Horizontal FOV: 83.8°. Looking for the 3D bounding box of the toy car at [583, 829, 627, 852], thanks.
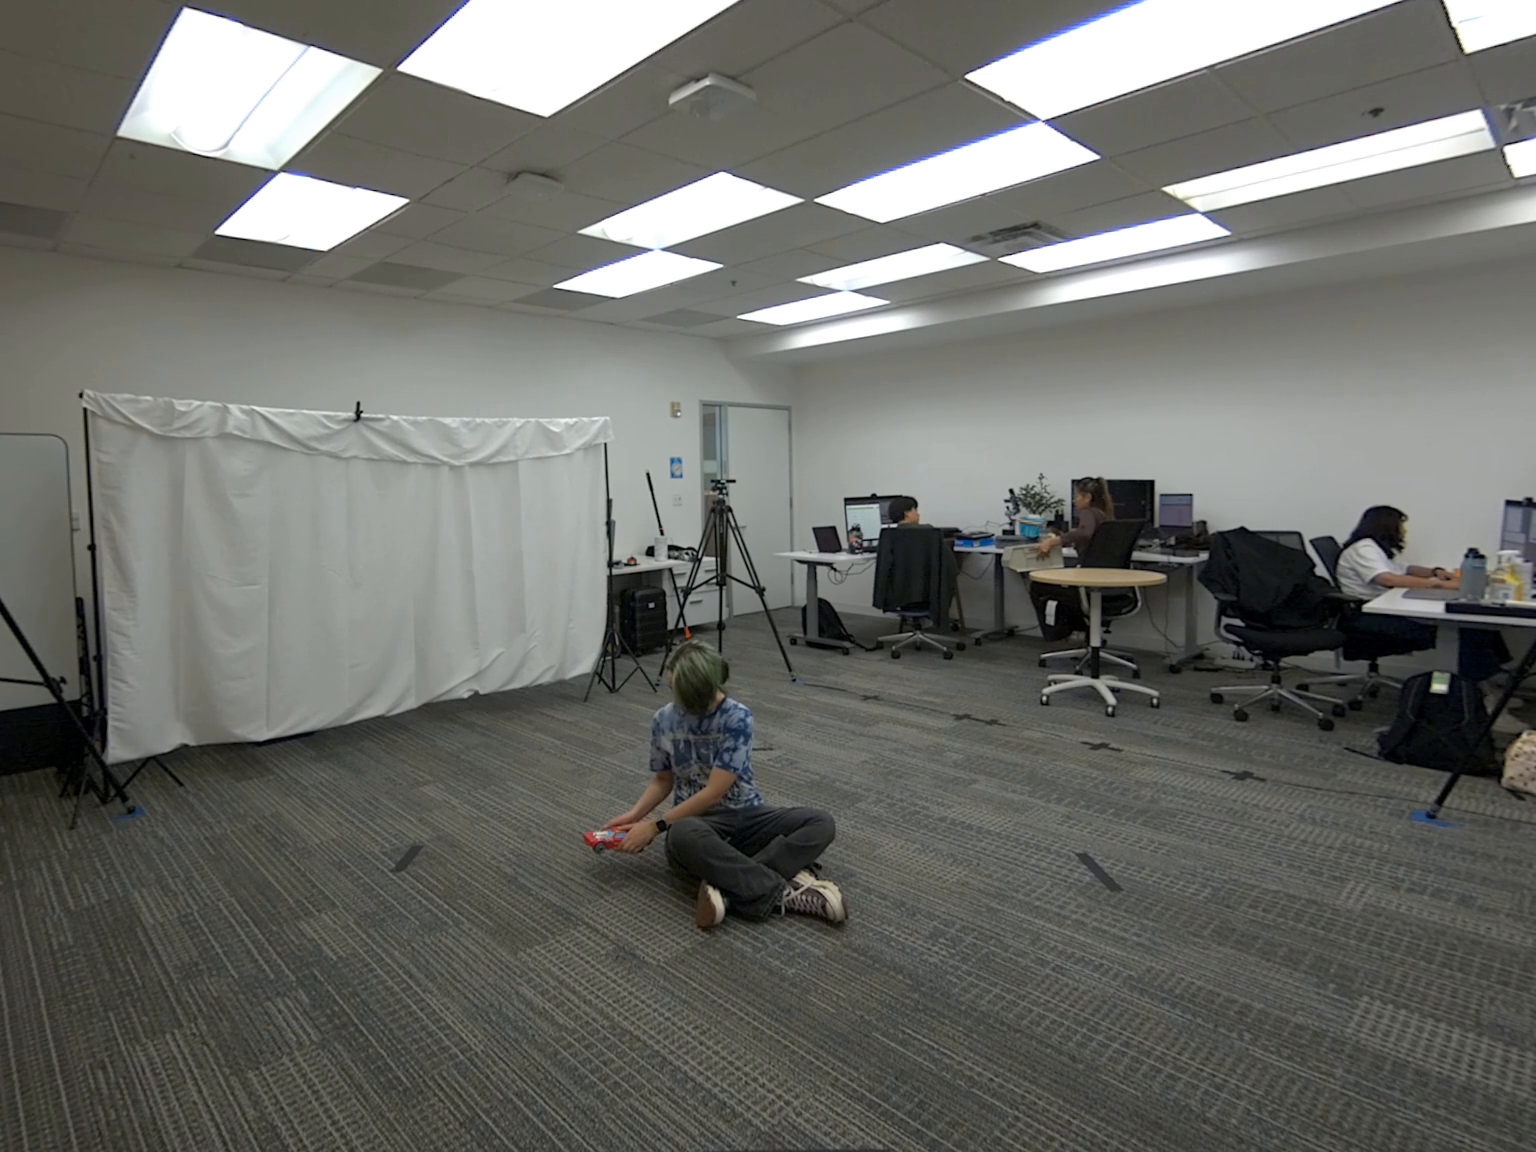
[{"bbox_3d":[-0.519,0.943,3.036,0.248,0.083,0.133,-1,2,-29],"label":"toy car"}]
